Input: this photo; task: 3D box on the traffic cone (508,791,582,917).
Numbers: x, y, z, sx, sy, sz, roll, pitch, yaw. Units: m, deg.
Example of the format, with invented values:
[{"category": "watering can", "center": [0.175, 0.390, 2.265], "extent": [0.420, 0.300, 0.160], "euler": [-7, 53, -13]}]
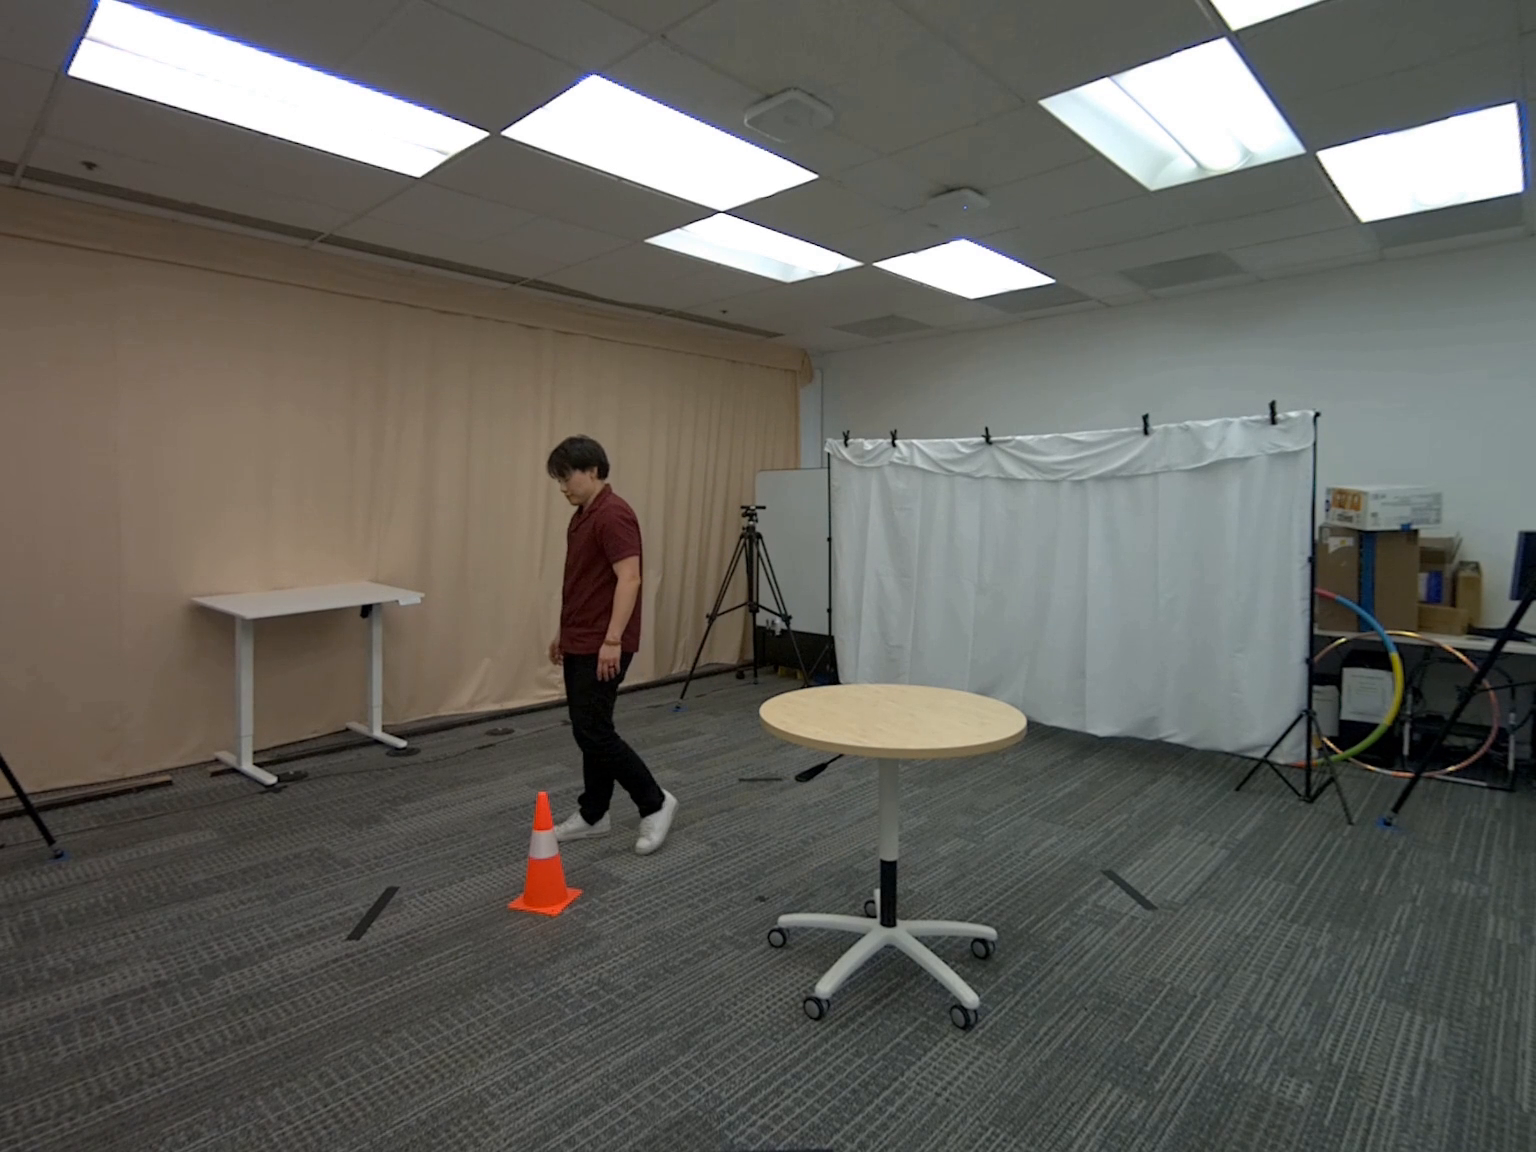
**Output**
[{"category": "traffic cone", "center": [-0.797, 0.968, 2.980], "extent": [0.208, 0.382, 0.201], "euler": [0, 6, 20]}]
